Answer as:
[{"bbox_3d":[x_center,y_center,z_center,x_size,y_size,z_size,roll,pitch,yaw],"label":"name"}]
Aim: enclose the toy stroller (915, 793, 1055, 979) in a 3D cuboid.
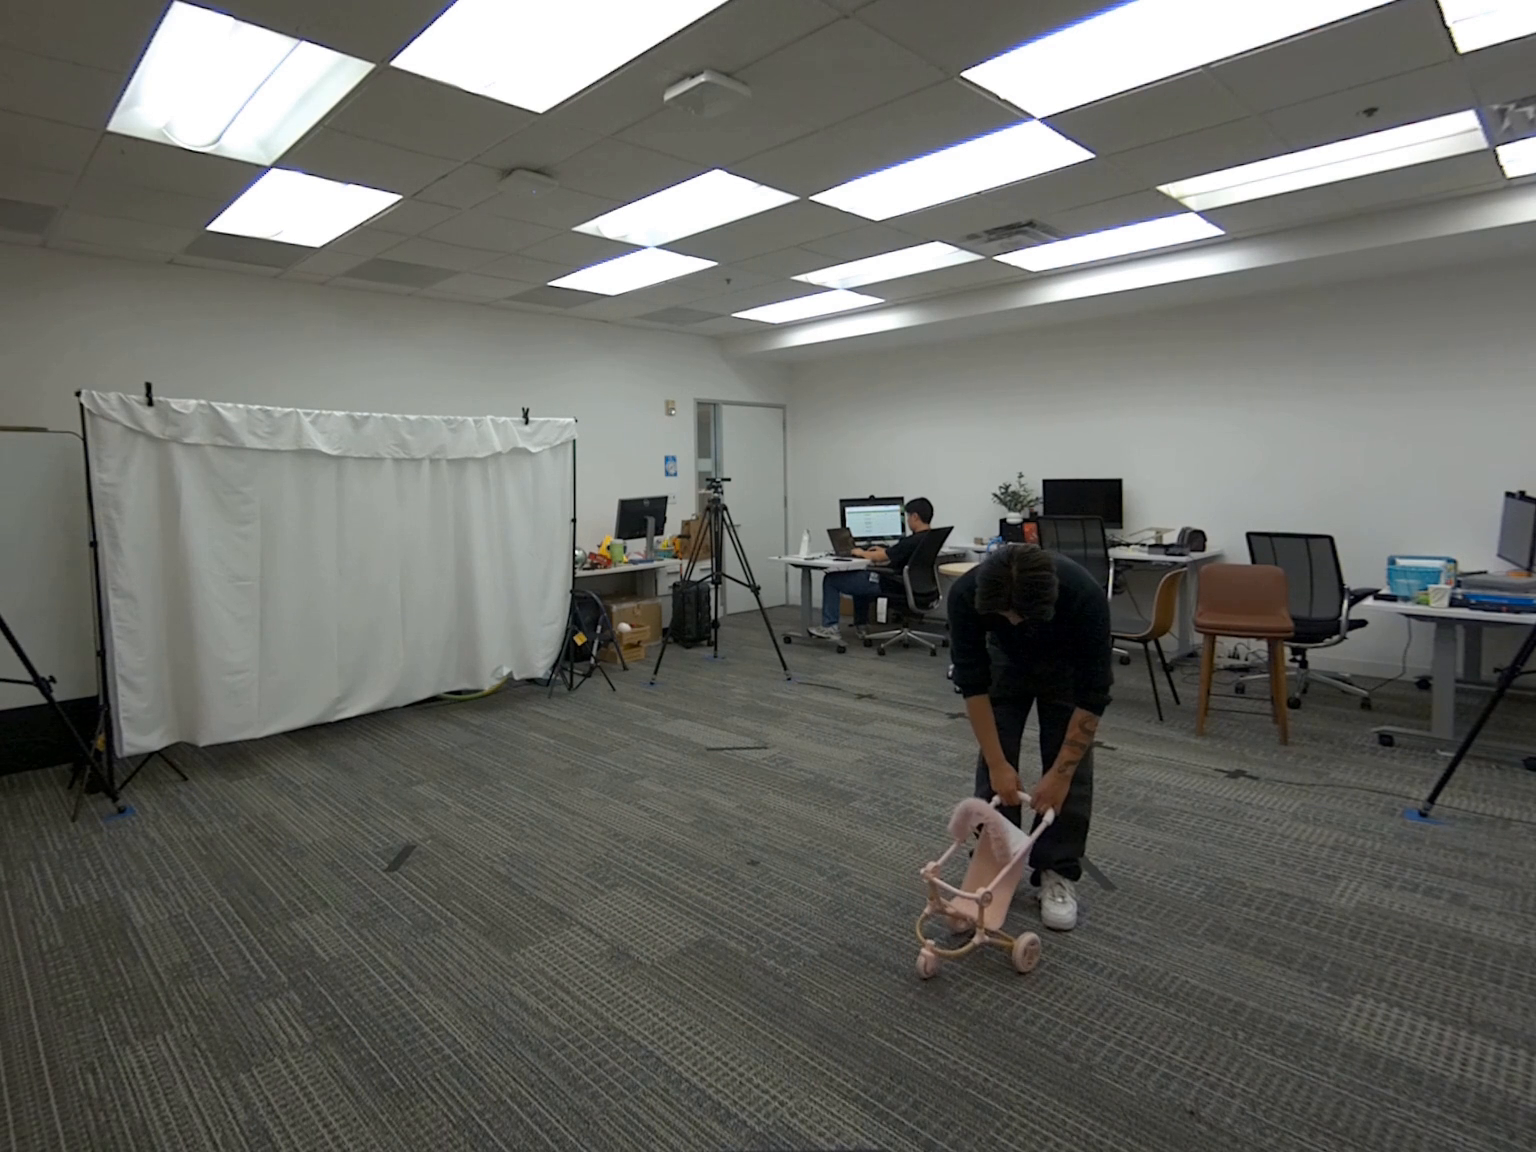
[{"bbox_3d":[0.605,0.882,2.459,0.332,0.536,0.289,15,-4,-28],"label":"toy stroller"}]
